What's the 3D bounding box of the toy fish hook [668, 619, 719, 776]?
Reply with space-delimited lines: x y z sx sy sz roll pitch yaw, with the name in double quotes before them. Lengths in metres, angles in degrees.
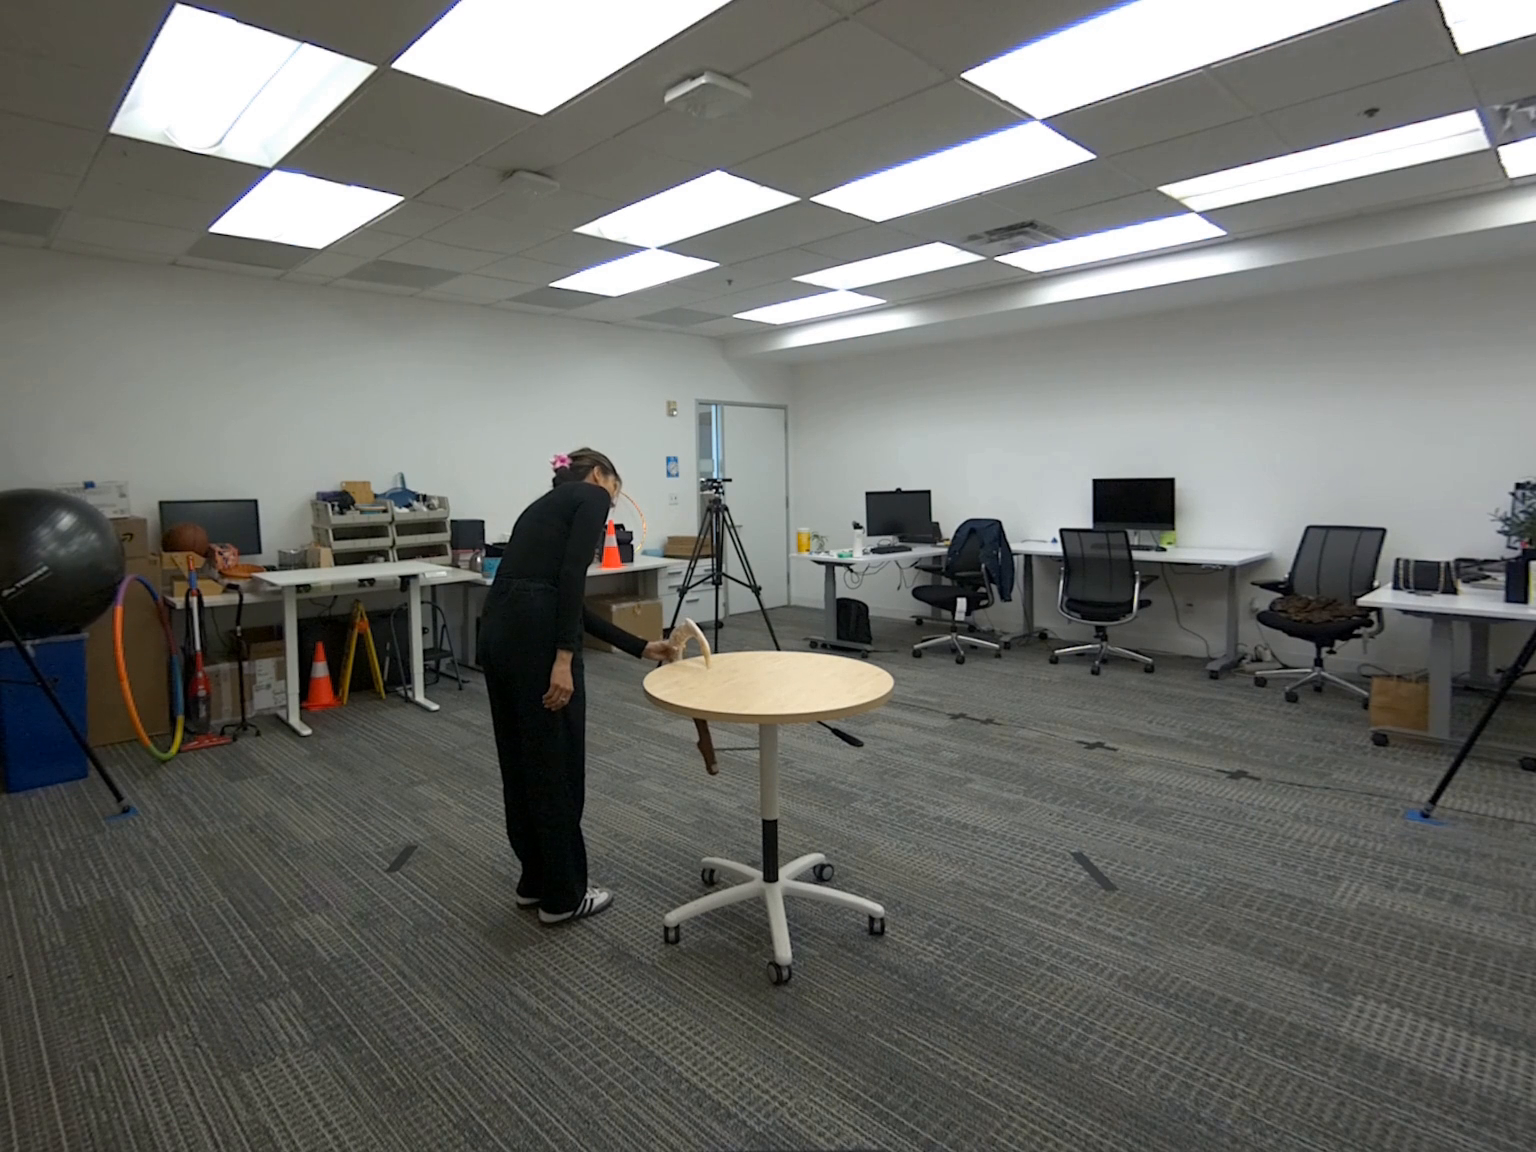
"toy fish hook" -0.224 0.388 2.807 0.047 0.520 0.224 -2 -29 -35
